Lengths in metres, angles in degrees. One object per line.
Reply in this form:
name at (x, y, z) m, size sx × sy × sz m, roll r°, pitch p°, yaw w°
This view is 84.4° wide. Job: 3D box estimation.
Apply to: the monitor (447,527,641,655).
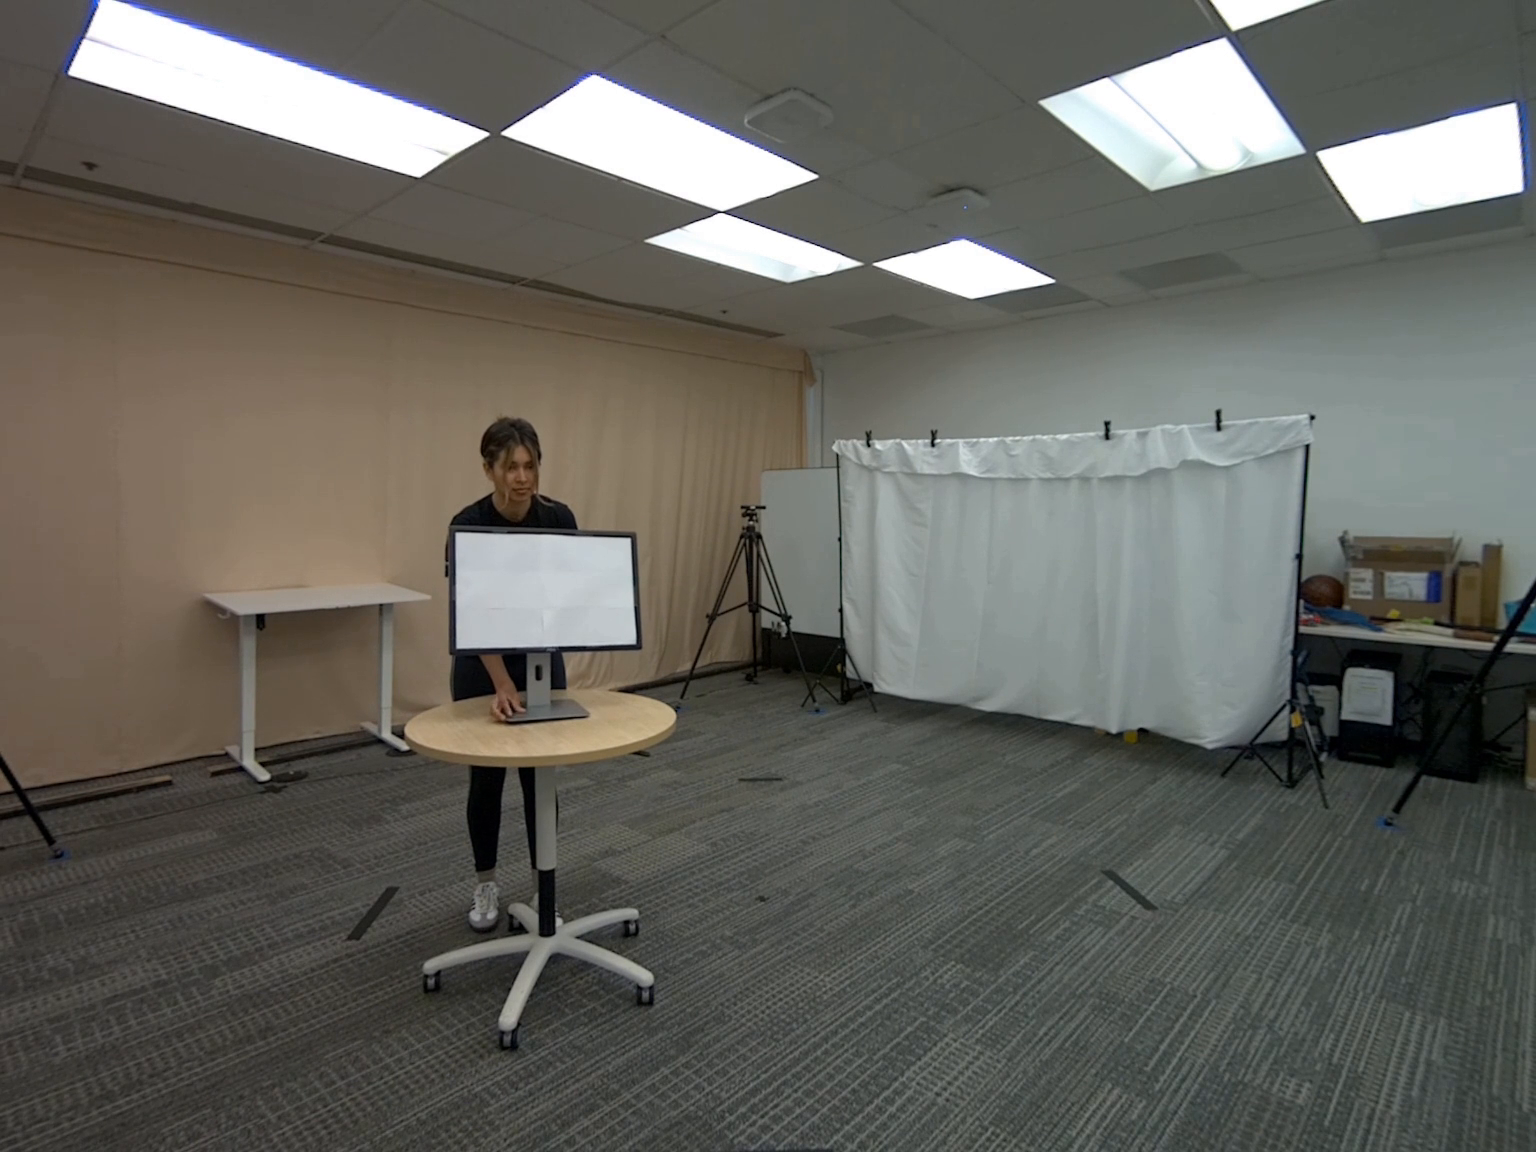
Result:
monitor at (-0.665, 0.139, 2.481) m, size 0.524 × 0.522 × 0.192 m, roll 1°, pitch 2°, yaw -29°
